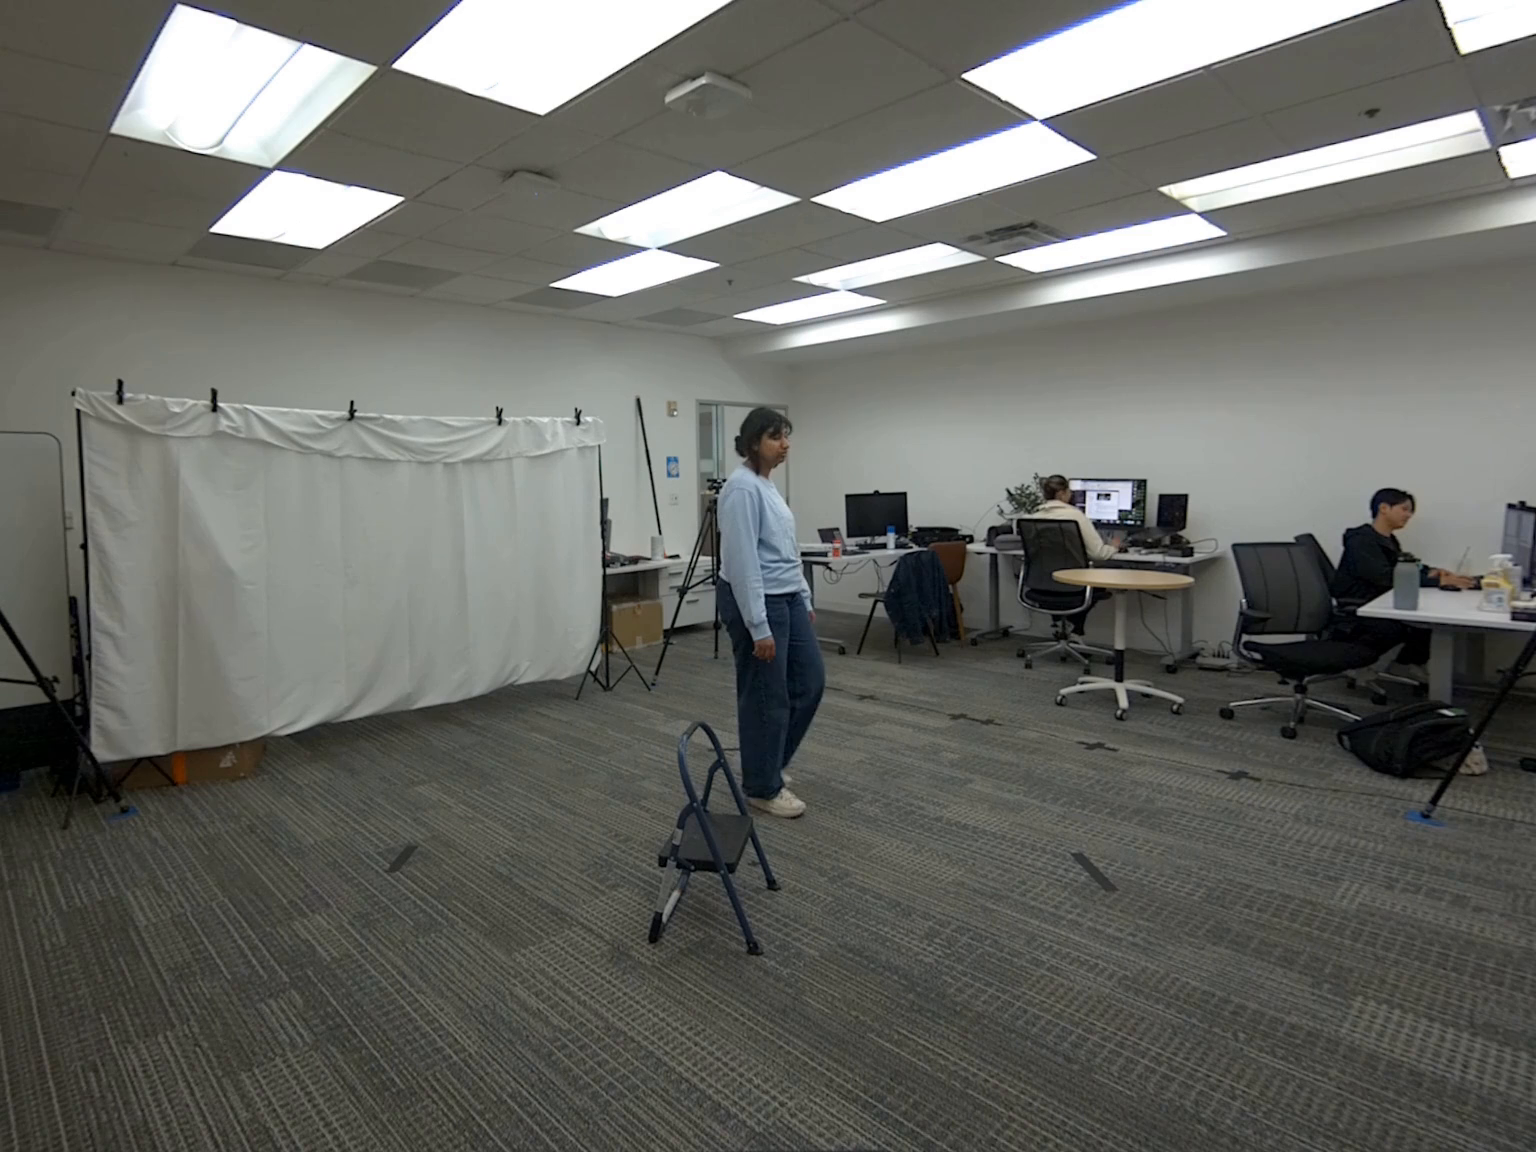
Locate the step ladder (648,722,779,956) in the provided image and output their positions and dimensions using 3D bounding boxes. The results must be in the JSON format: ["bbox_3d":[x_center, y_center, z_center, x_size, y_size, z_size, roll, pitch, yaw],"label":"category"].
[{"bbox_3d":[-0.167,0.789,2.727,0.353,0.603,0.428,0,5,10],"label":"step ladder"}]
